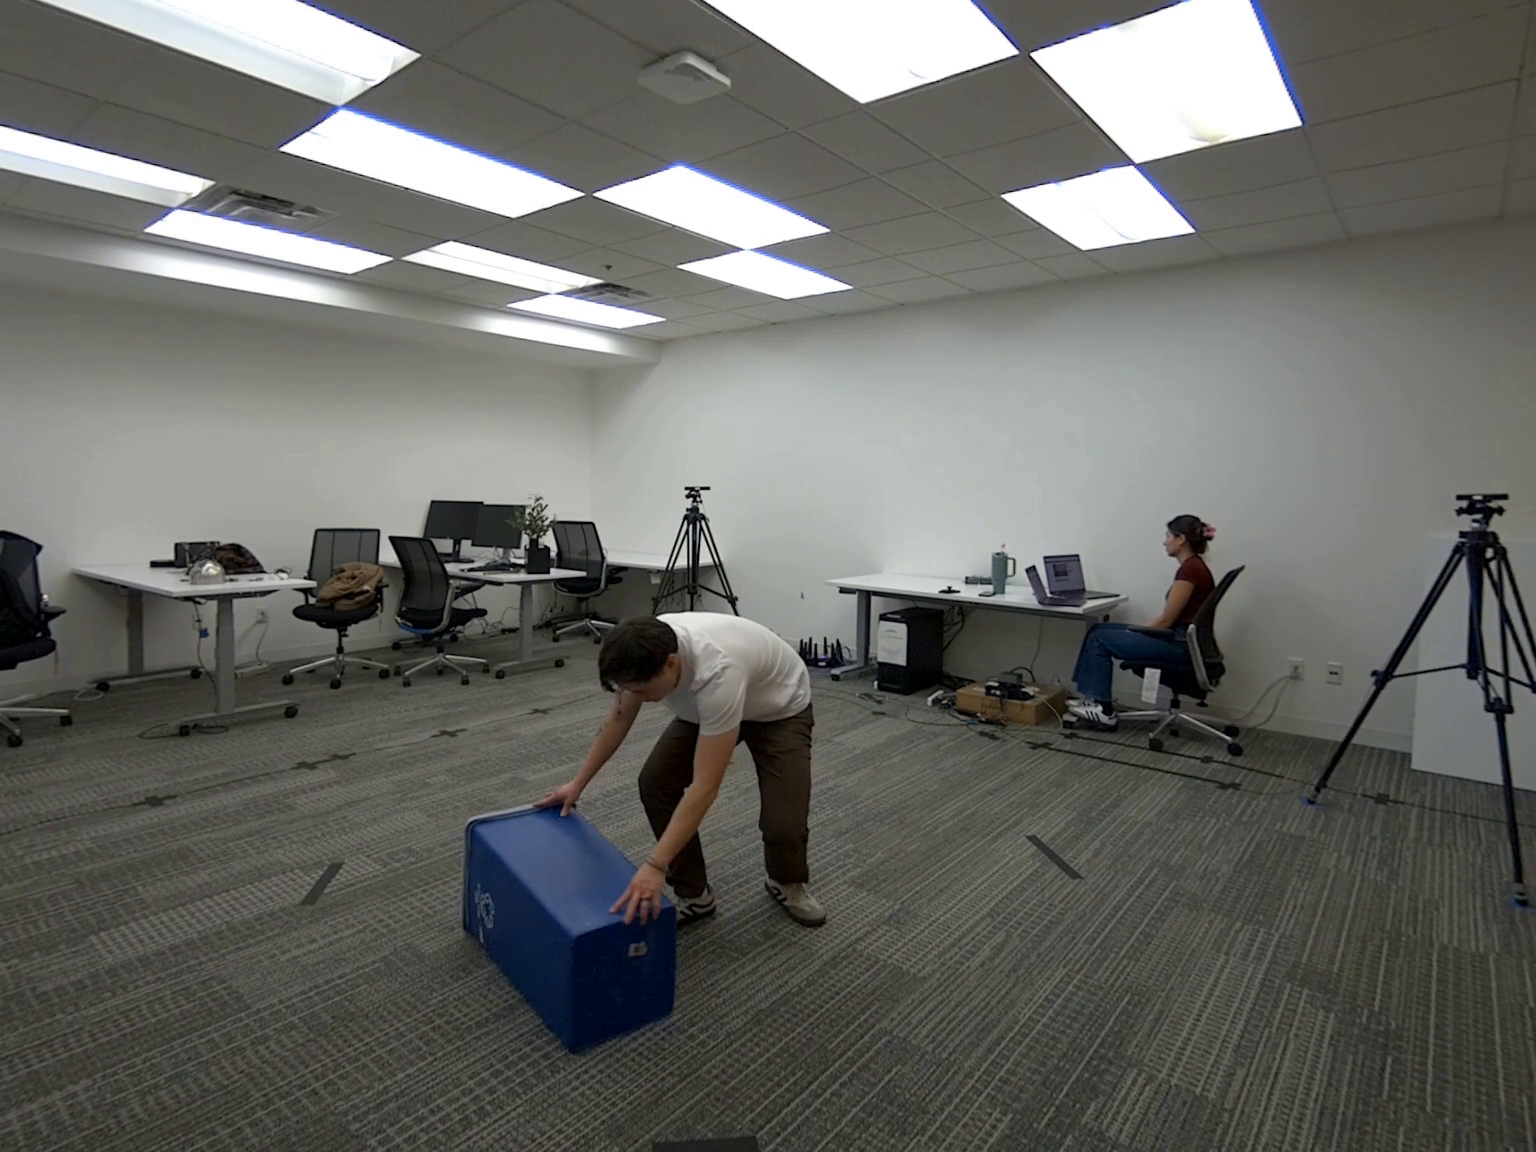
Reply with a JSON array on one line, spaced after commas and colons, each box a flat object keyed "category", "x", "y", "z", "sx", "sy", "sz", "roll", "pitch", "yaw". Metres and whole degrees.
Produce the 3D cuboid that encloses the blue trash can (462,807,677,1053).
[{"category": "blue trash can", "x": -0.584, "y": 0.959, "z": 2.432, "sx": 0.363, "sy": 0.377, "sz": 0.738, "roll": 0, "pitch": 6, "yaw": -37}]
